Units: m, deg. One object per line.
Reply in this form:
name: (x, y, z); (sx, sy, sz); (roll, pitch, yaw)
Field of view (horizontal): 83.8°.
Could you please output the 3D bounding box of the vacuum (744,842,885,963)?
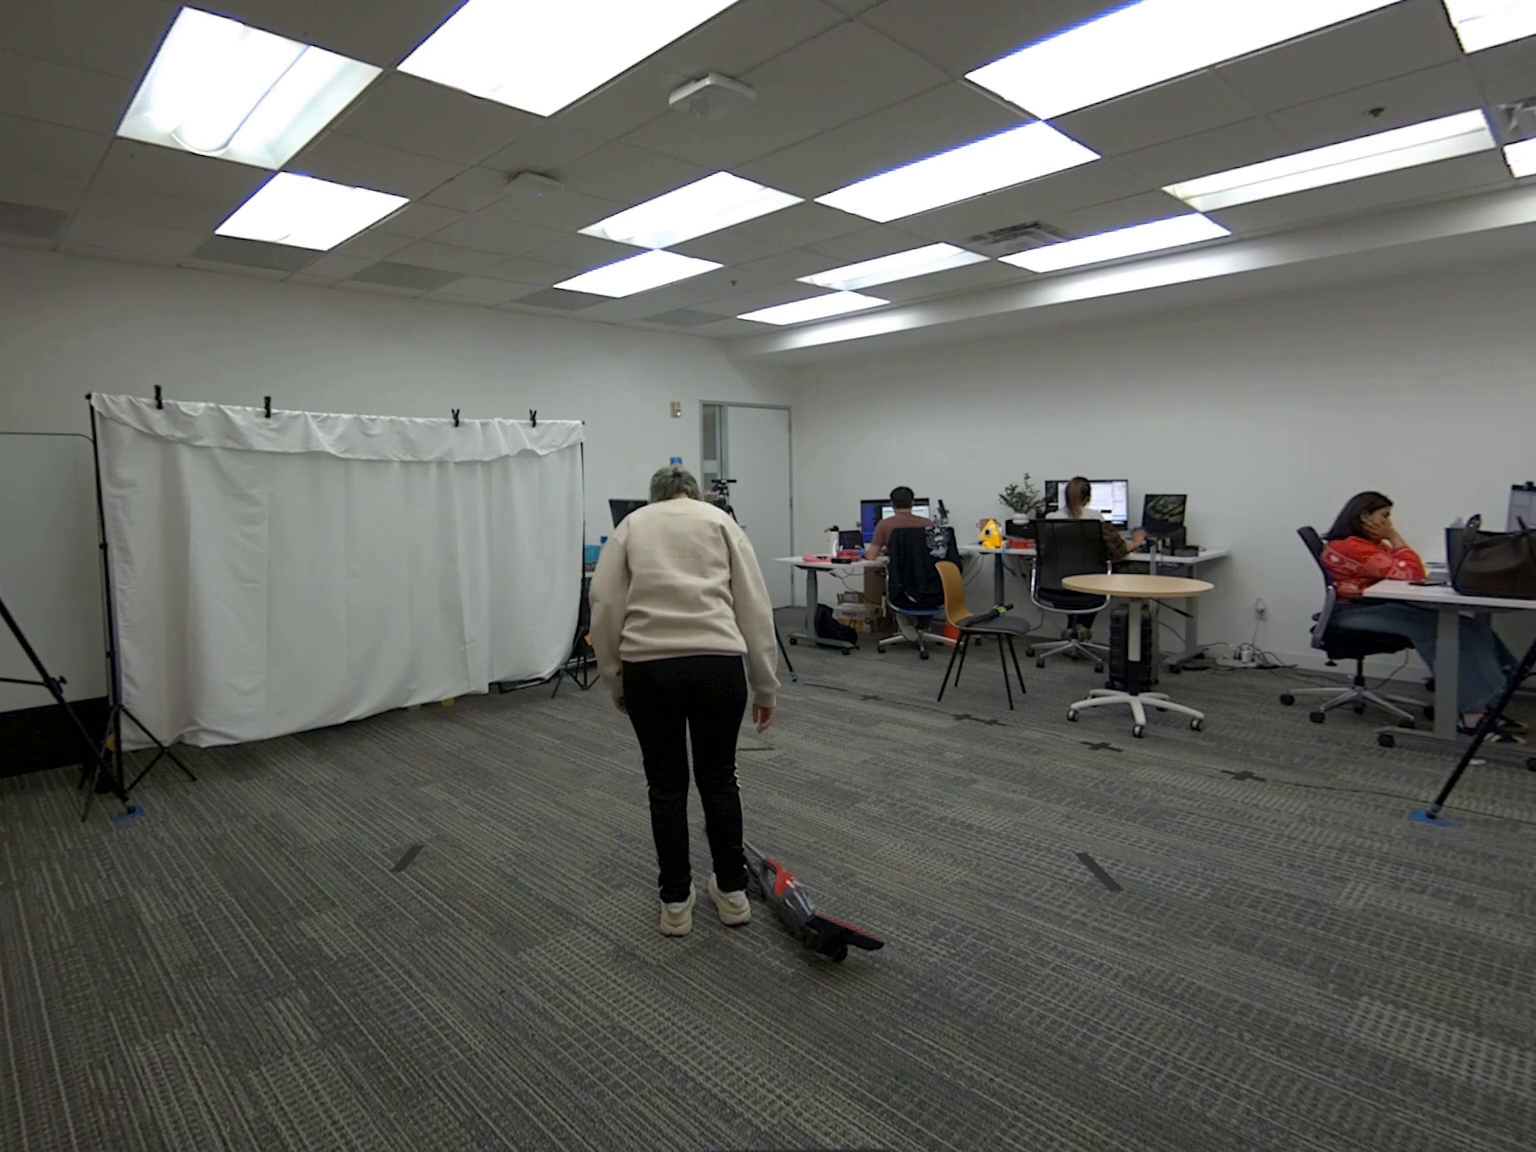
vacuum: (-0.017, 1.018, 2.915); (0.247, 0.144, 1.069); (31, -11, -20)
